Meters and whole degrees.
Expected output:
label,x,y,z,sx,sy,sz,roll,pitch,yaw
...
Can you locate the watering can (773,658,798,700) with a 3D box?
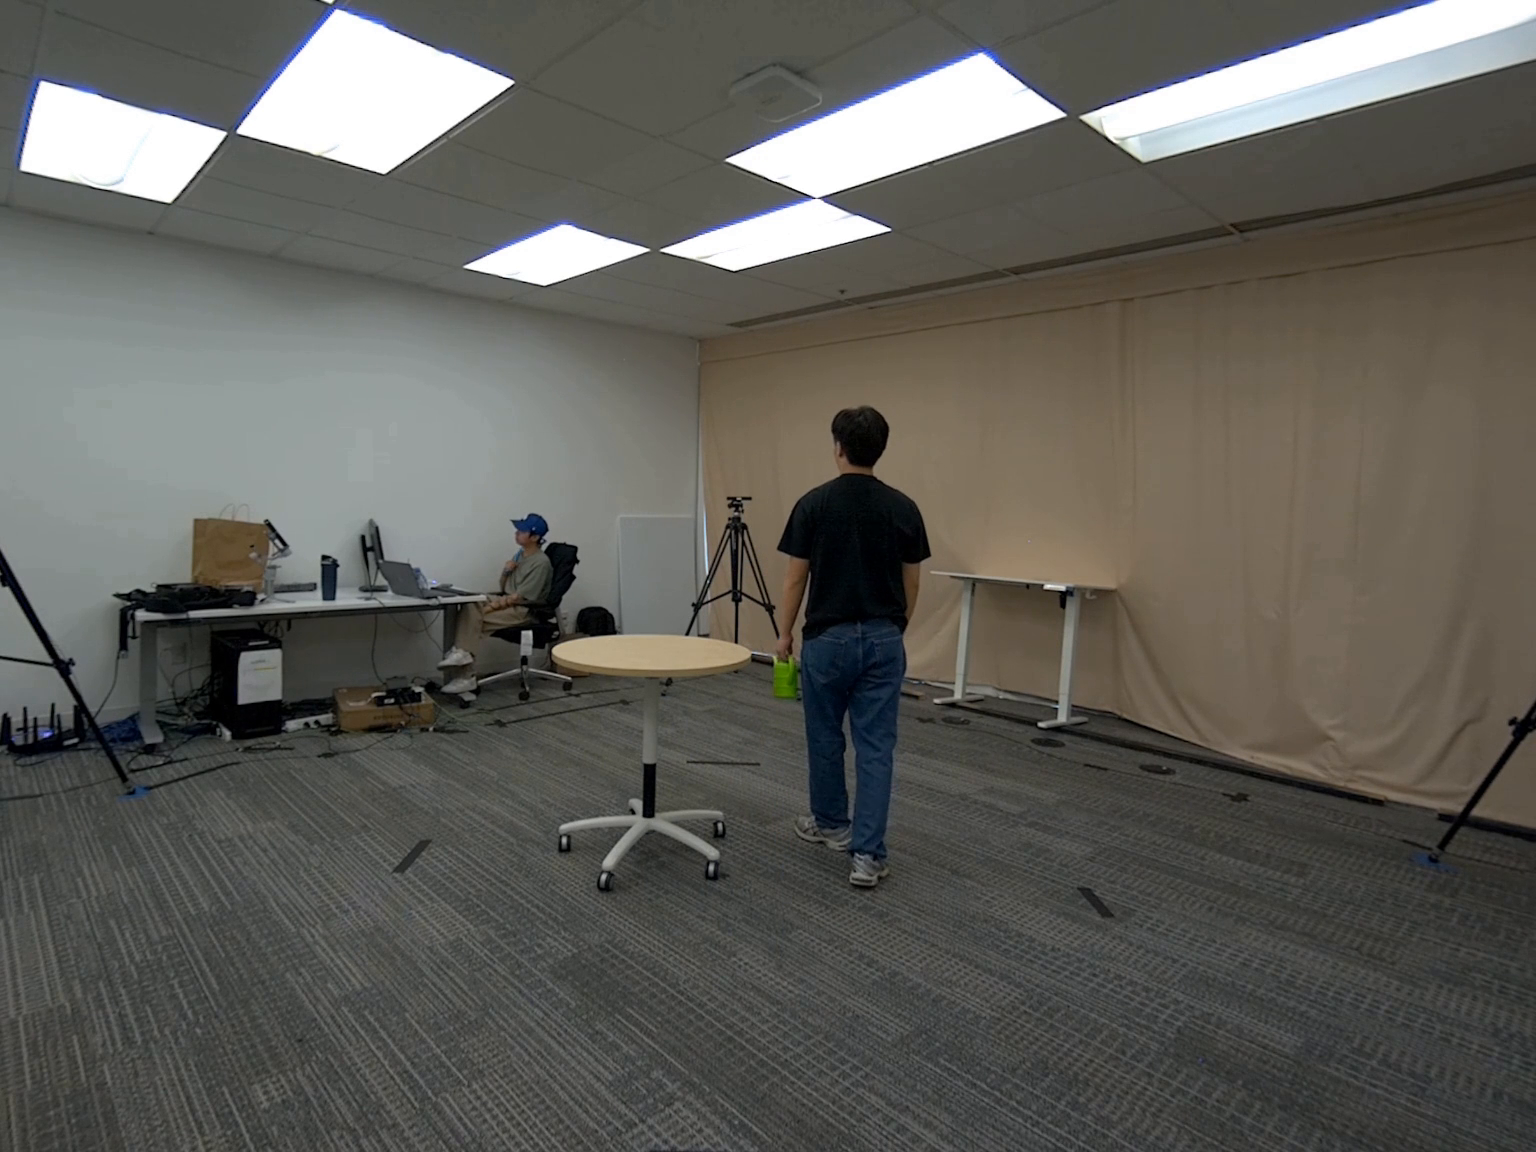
label,x,y,z,sx,sy,sz,roll,pitch,yaw
watering can,0.060,0.400,3.437,0.098,0.178,0.277,3,-8,-4
